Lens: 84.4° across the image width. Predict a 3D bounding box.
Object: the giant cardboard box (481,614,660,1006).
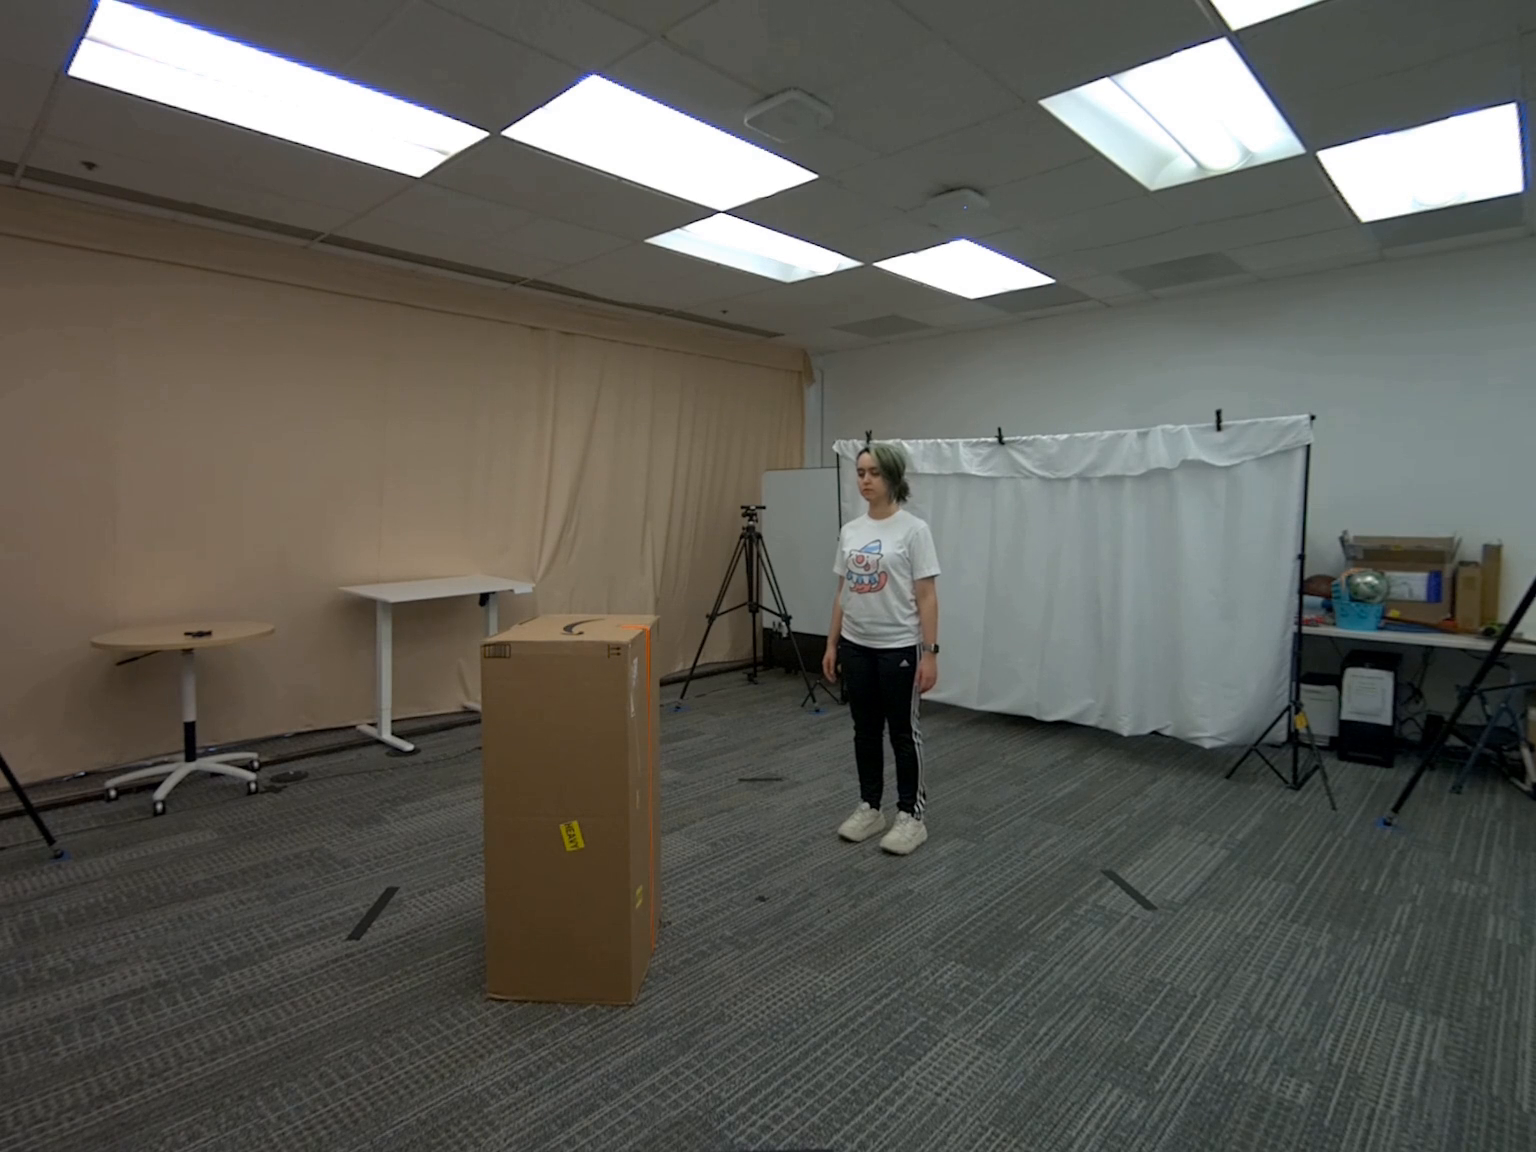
[{"bbox_3d":[-0.583,0.669,2.620,0.448,1.025,0.583,0,3,2],"label":"giant cardboard box"}]
